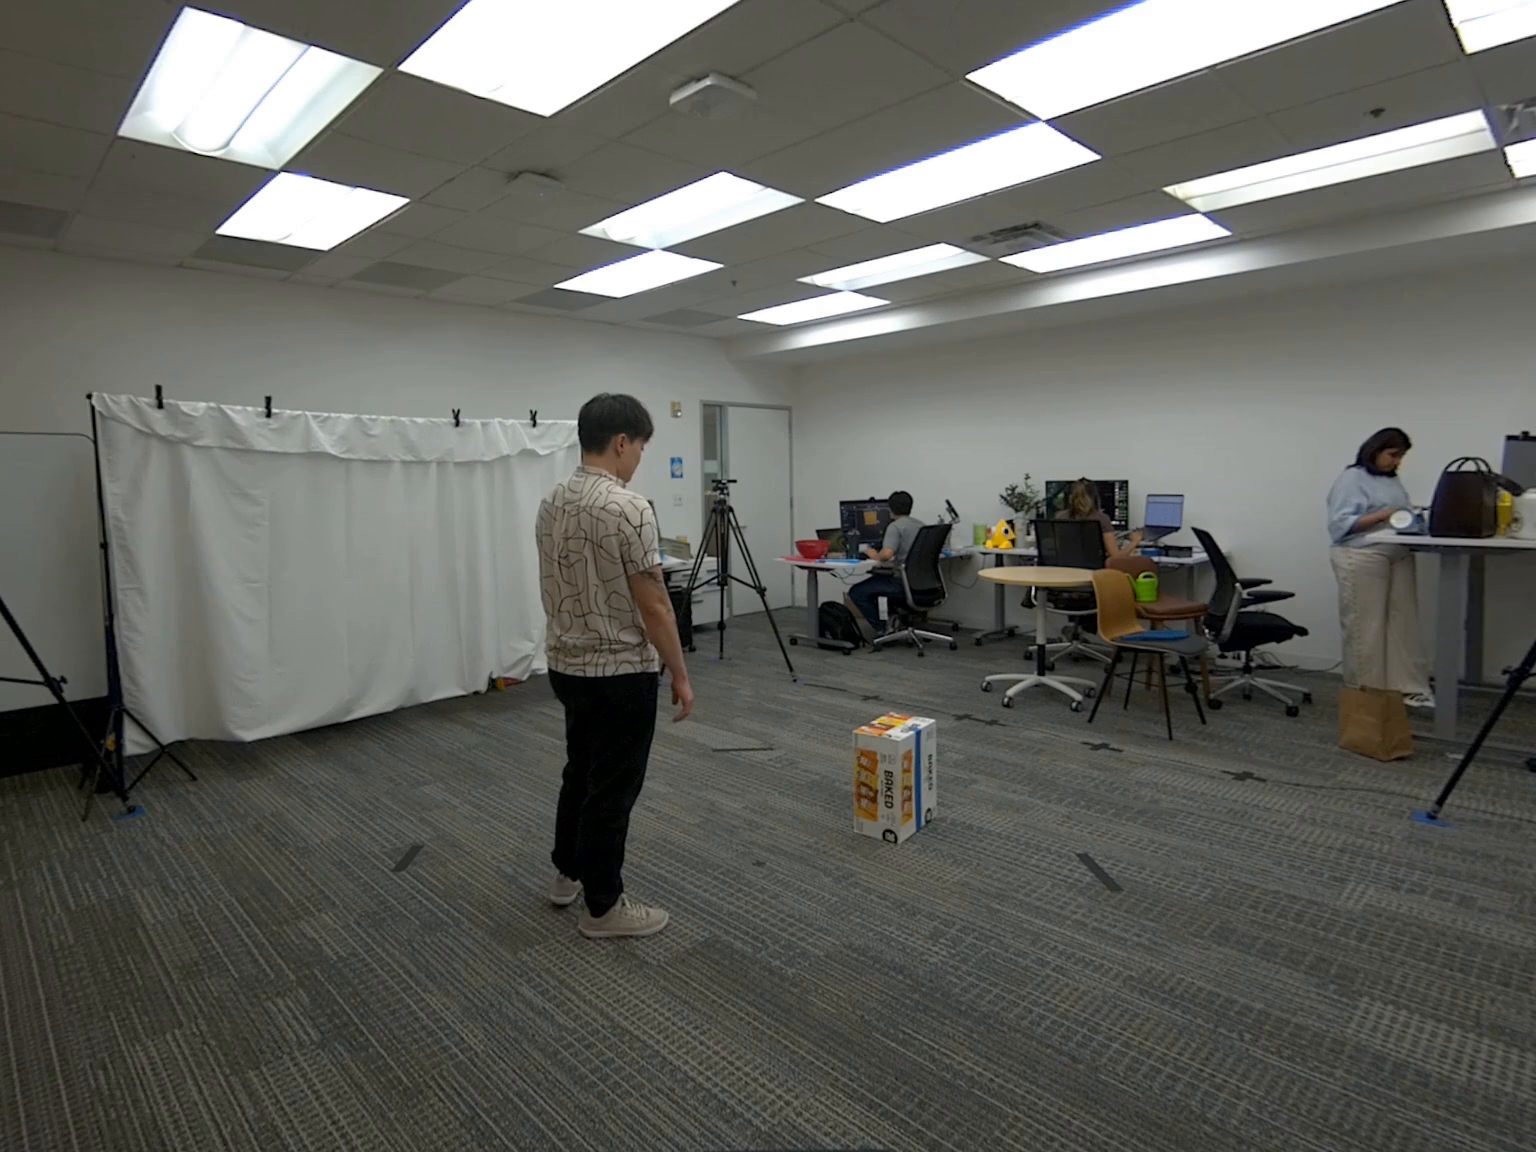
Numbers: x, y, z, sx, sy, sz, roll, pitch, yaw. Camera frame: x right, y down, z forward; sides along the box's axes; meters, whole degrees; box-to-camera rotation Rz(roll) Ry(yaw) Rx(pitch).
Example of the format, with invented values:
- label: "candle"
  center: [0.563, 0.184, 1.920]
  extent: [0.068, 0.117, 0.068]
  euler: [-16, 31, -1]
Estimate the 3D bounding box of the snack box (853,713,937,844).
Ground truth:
- label: "snack box"
  center: [0.514, 0.798, 3.433]
  extent: [0.212, 0.403, 0.332]
  euler: [2, 6, 36]
